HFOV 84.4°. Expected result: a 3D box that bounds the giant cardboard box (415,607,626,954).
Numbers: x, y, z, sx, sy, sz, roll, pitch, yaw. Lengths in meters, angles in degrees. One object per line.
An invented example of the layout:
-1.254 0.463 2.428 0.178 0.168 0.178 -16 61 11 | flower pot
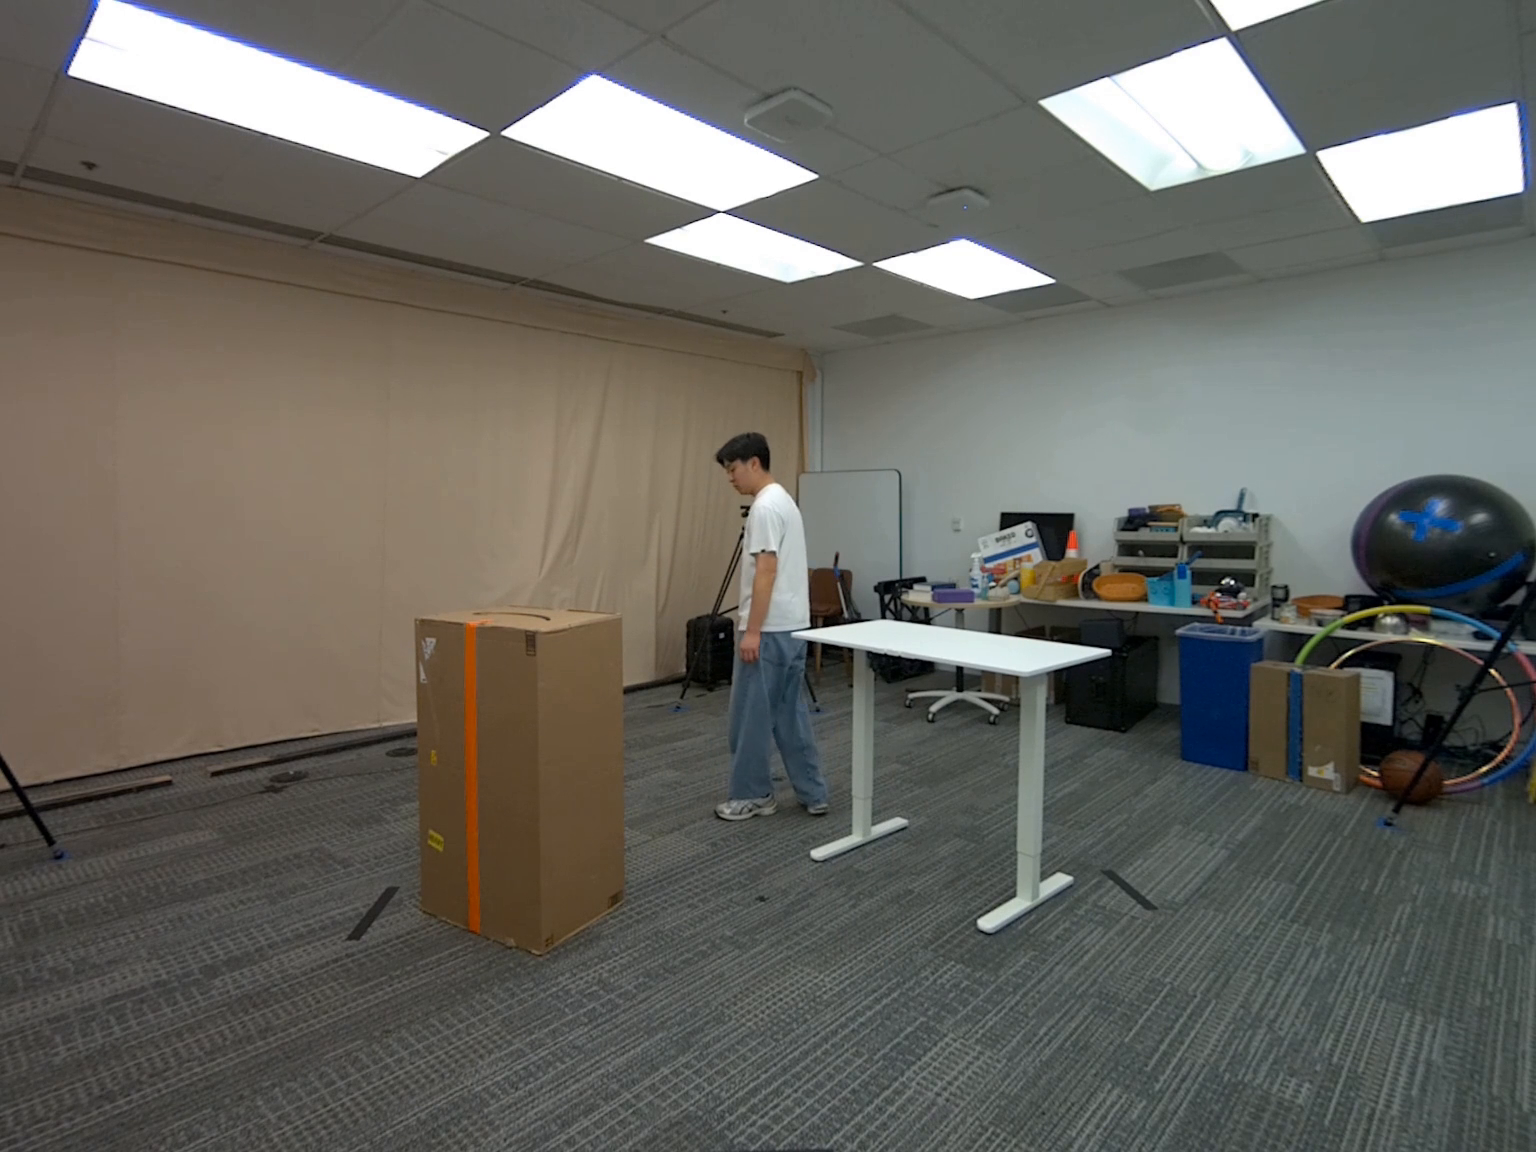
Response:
-0.850 0.646 2.912 0.595 1.024 0.414 2 3 32 | giant cardboard box
